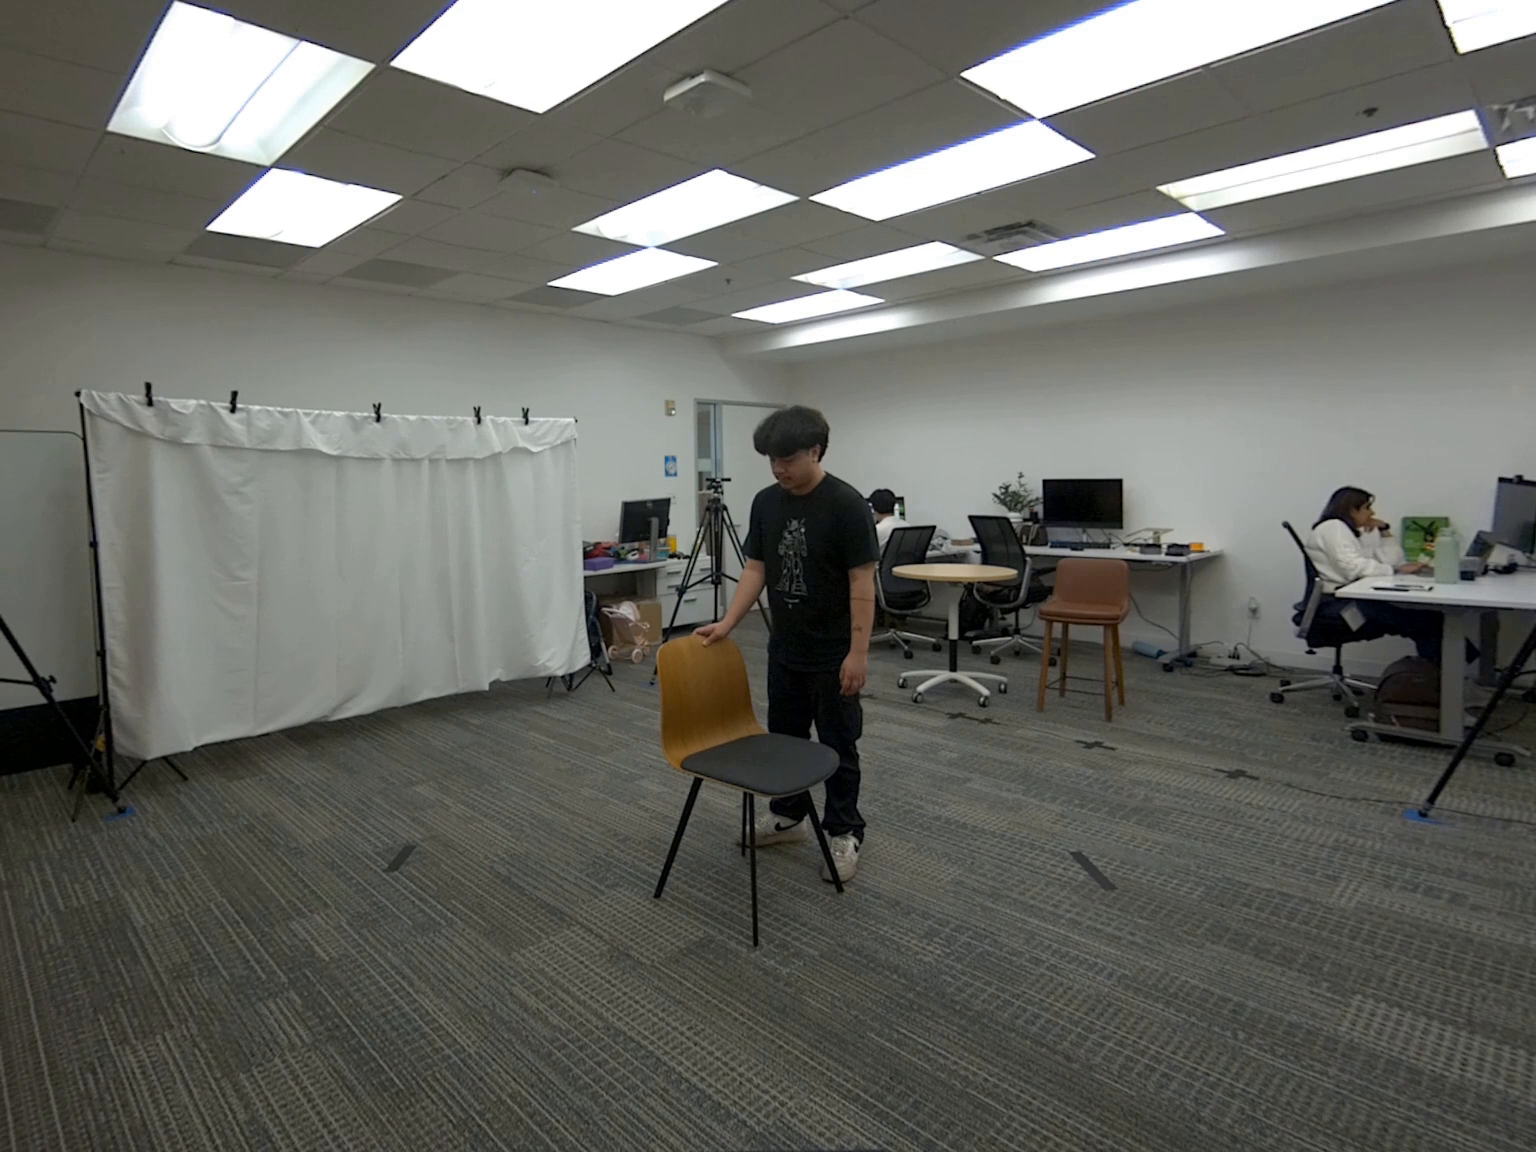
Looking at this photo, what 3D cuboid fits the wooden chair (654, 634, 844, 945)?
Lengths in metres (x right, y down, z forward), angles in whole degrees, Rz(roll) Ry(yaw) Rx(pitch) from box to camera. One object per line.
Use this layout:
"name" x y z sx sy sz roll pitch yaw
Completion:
"wooden chair" -0.067 0.647 2.825 0.537 0.877 0.465 -3 1 43
